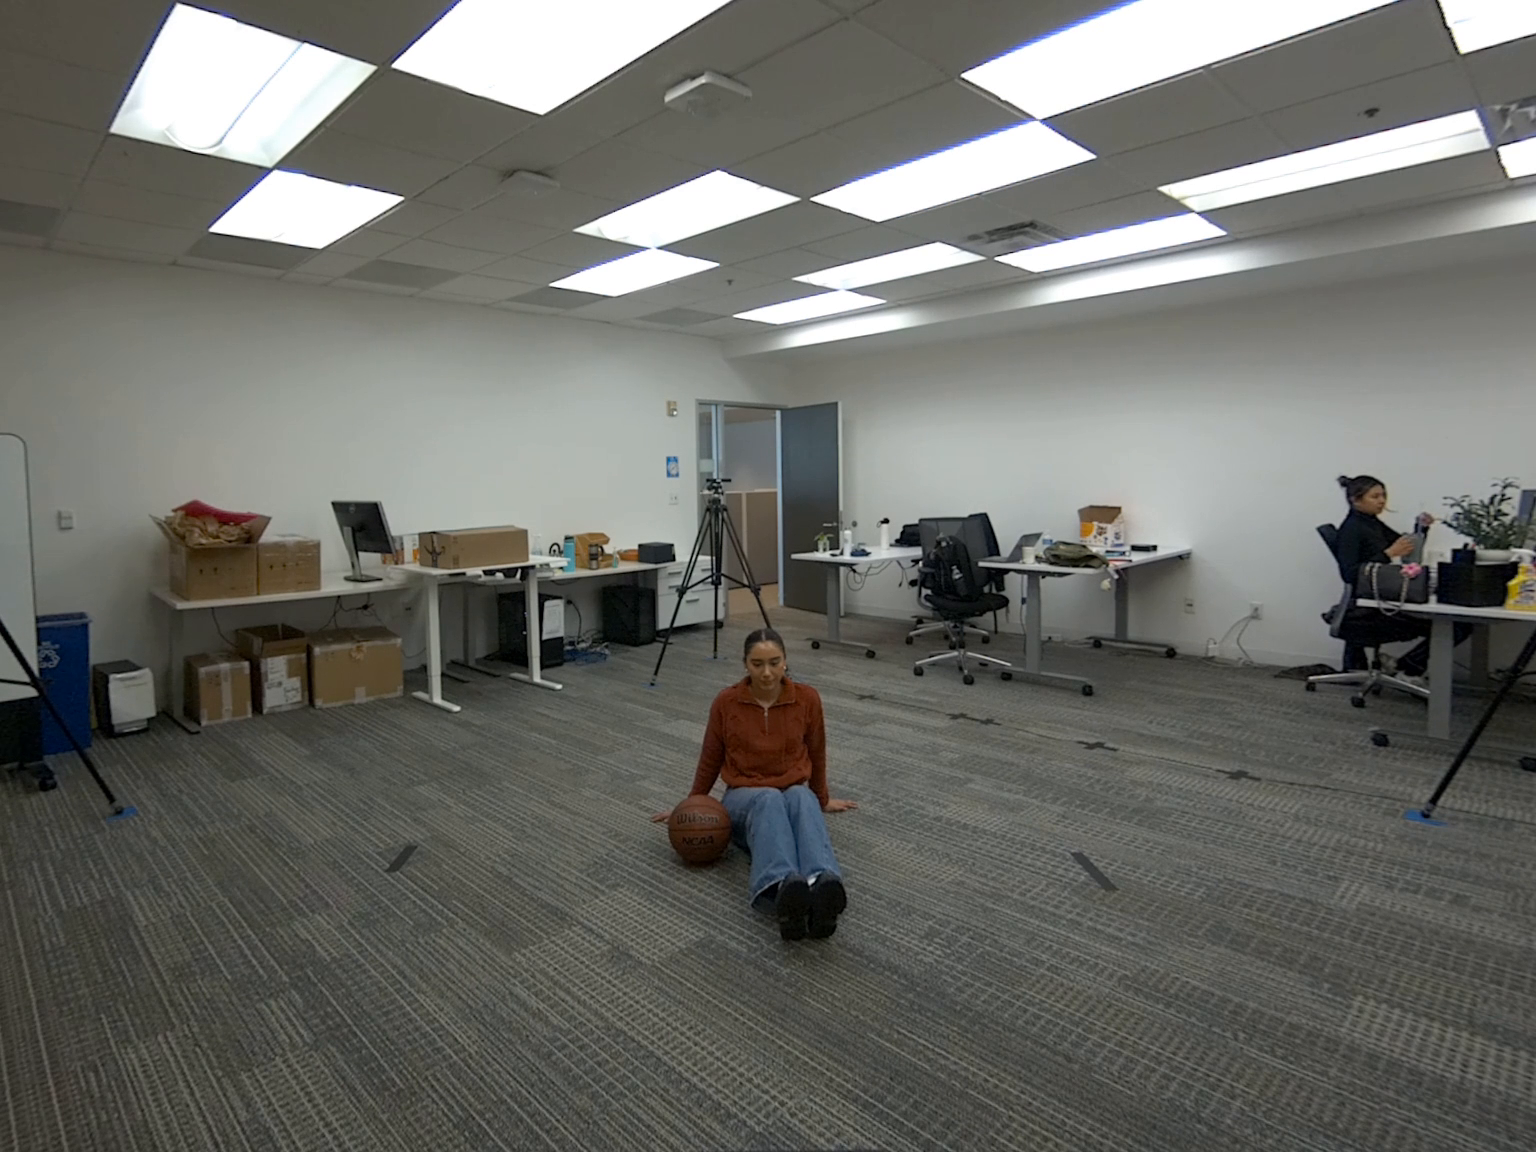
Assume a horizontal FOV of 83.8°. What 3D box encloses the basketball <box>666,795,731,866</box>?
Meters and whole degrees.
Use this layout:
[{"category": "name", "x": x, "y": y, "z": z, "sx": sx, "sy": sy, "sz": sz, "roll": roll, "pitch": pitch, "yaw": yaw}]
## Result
[{"category": "basketball", "x": -0.250, "y": 0.925, "z": 3.130, "sx": 0.236, "sy": 0.235, "sz": 0.237, "roll": -1, "pitch": 5, "yaw": -2}]
